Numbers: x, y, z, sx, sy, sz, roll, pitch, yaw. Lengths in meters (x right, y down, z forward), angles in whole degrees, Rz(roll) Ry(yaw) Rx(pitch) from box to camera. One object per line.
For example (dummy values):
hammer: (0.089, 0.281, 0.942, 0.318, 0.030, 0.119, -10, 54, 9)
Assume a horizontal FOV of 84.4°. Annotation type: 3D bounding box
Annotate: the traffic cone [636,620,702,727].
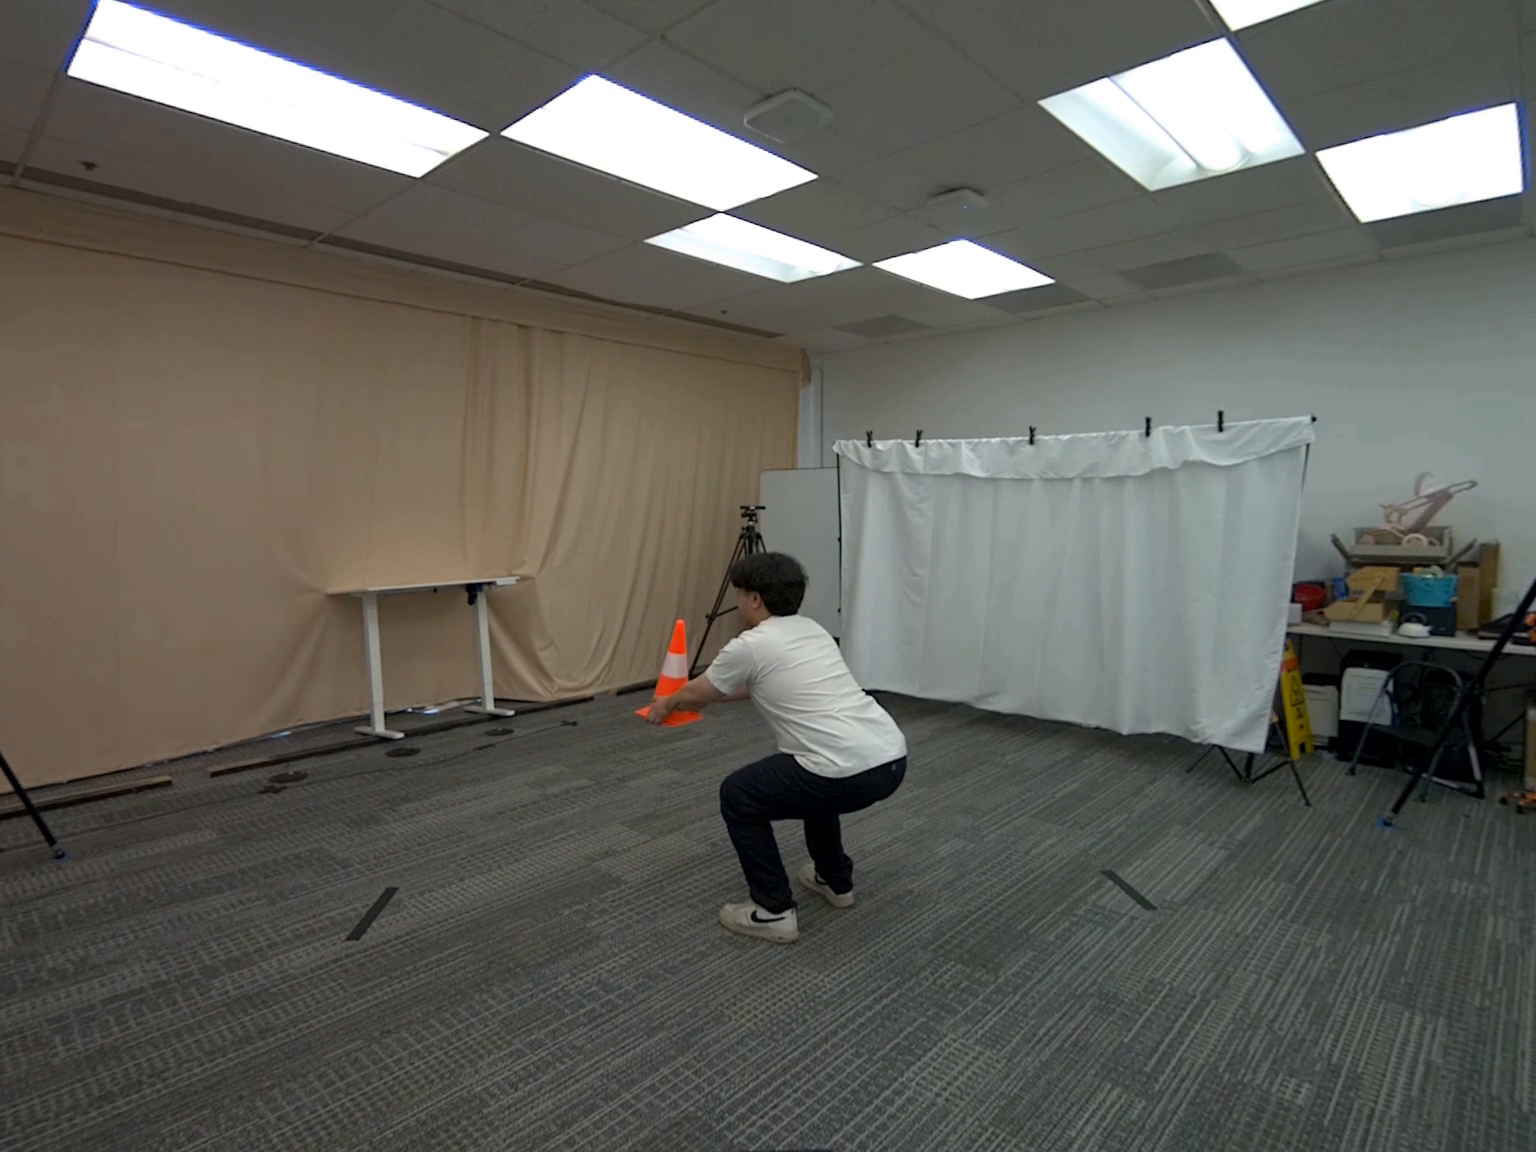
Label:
traffic cone: (-0.364, 0.358, 3.265, 0.210, 0.382, 0.199, 13, 12, 32)
